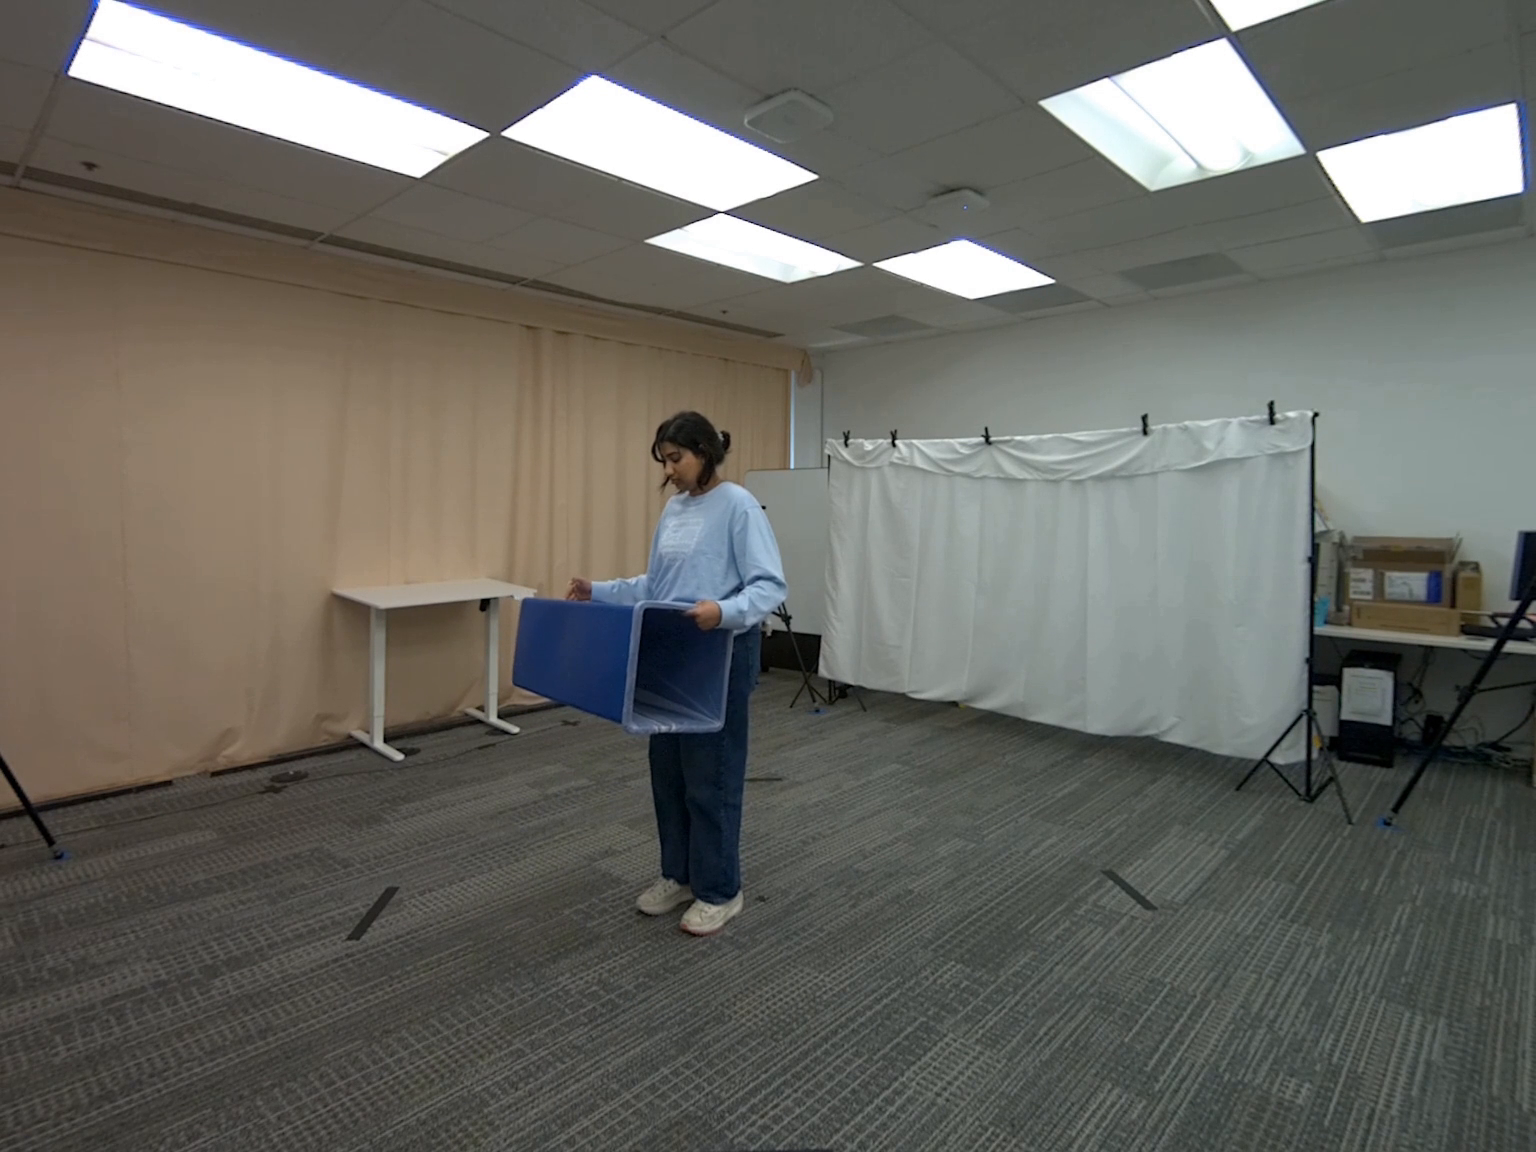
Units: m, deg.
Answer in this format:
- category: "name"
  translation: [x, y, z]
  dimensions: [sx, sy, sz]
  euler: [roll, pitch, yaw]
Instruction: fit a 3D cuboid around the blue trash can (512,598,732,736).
- category: "blue trash can"
  translation: [-0.501, 0.252, 2.688]
  dimensions: [0.365, 0.374, 0.737]
  euler: [8, -3, -44]
